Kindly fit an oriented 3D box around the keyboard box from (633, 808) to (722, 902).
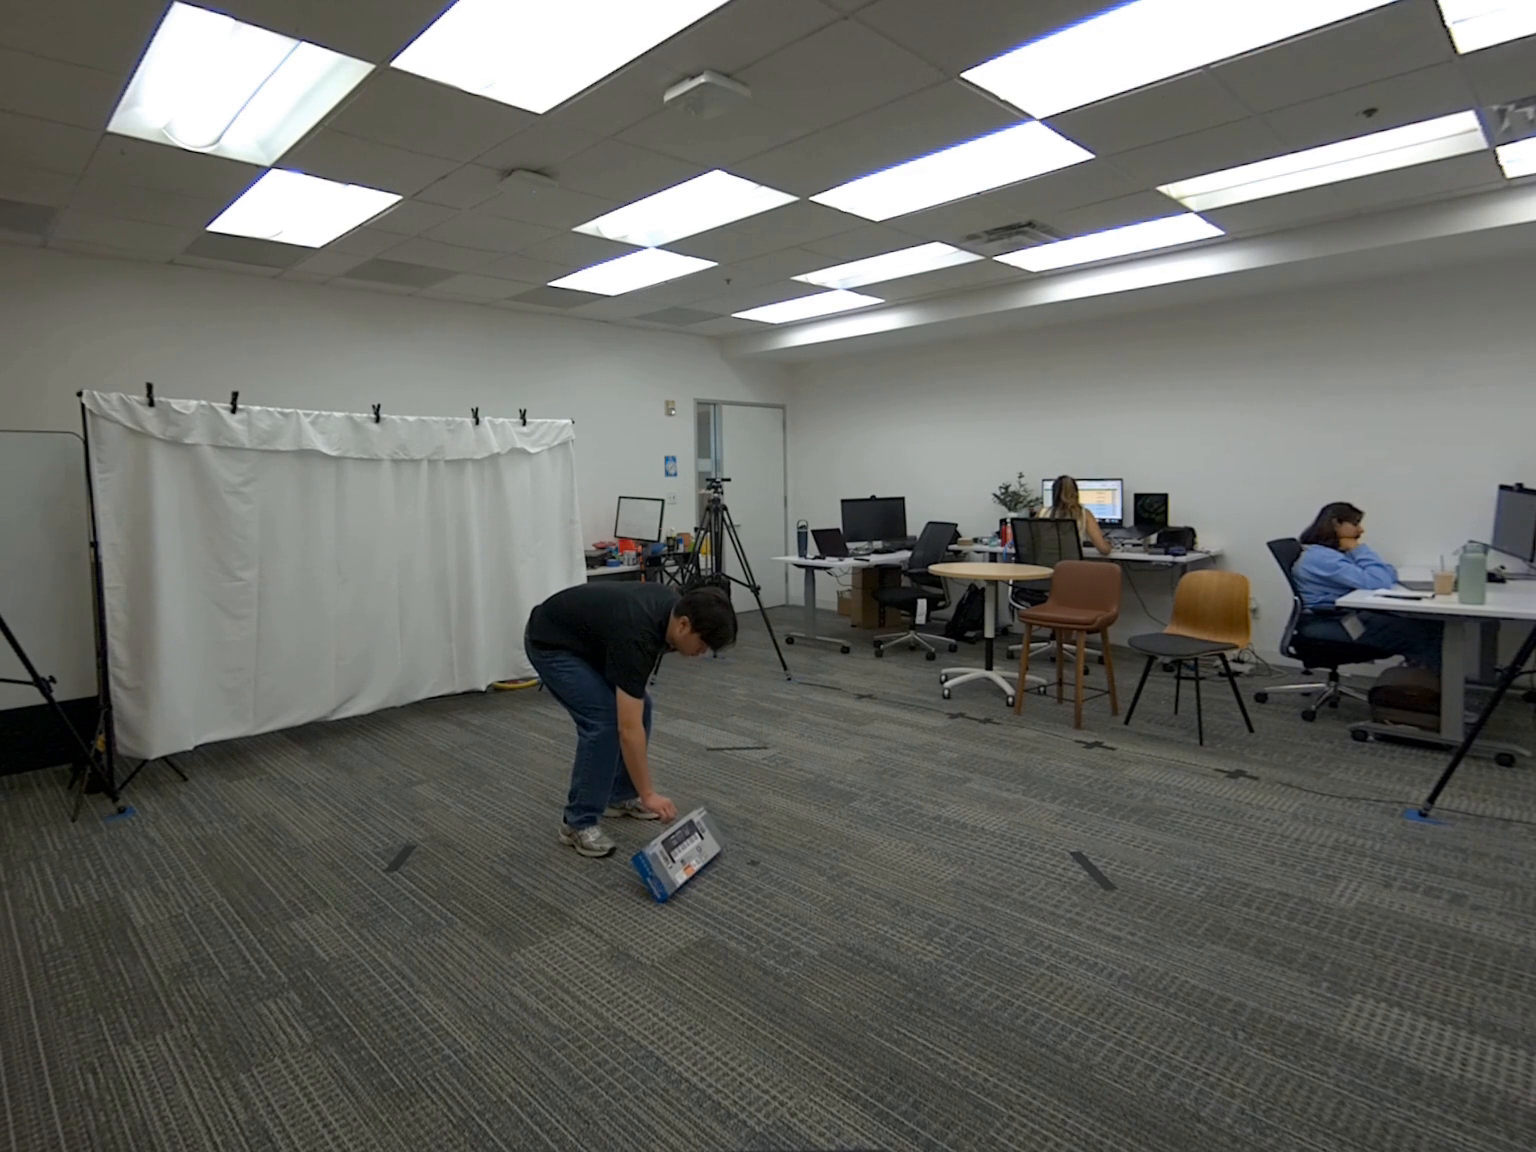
[{"bbox_3d":[-0.303,0.971,3.023,0.059,0.178,0.429,-40,-10,23],"label":"keyboard box"}]
